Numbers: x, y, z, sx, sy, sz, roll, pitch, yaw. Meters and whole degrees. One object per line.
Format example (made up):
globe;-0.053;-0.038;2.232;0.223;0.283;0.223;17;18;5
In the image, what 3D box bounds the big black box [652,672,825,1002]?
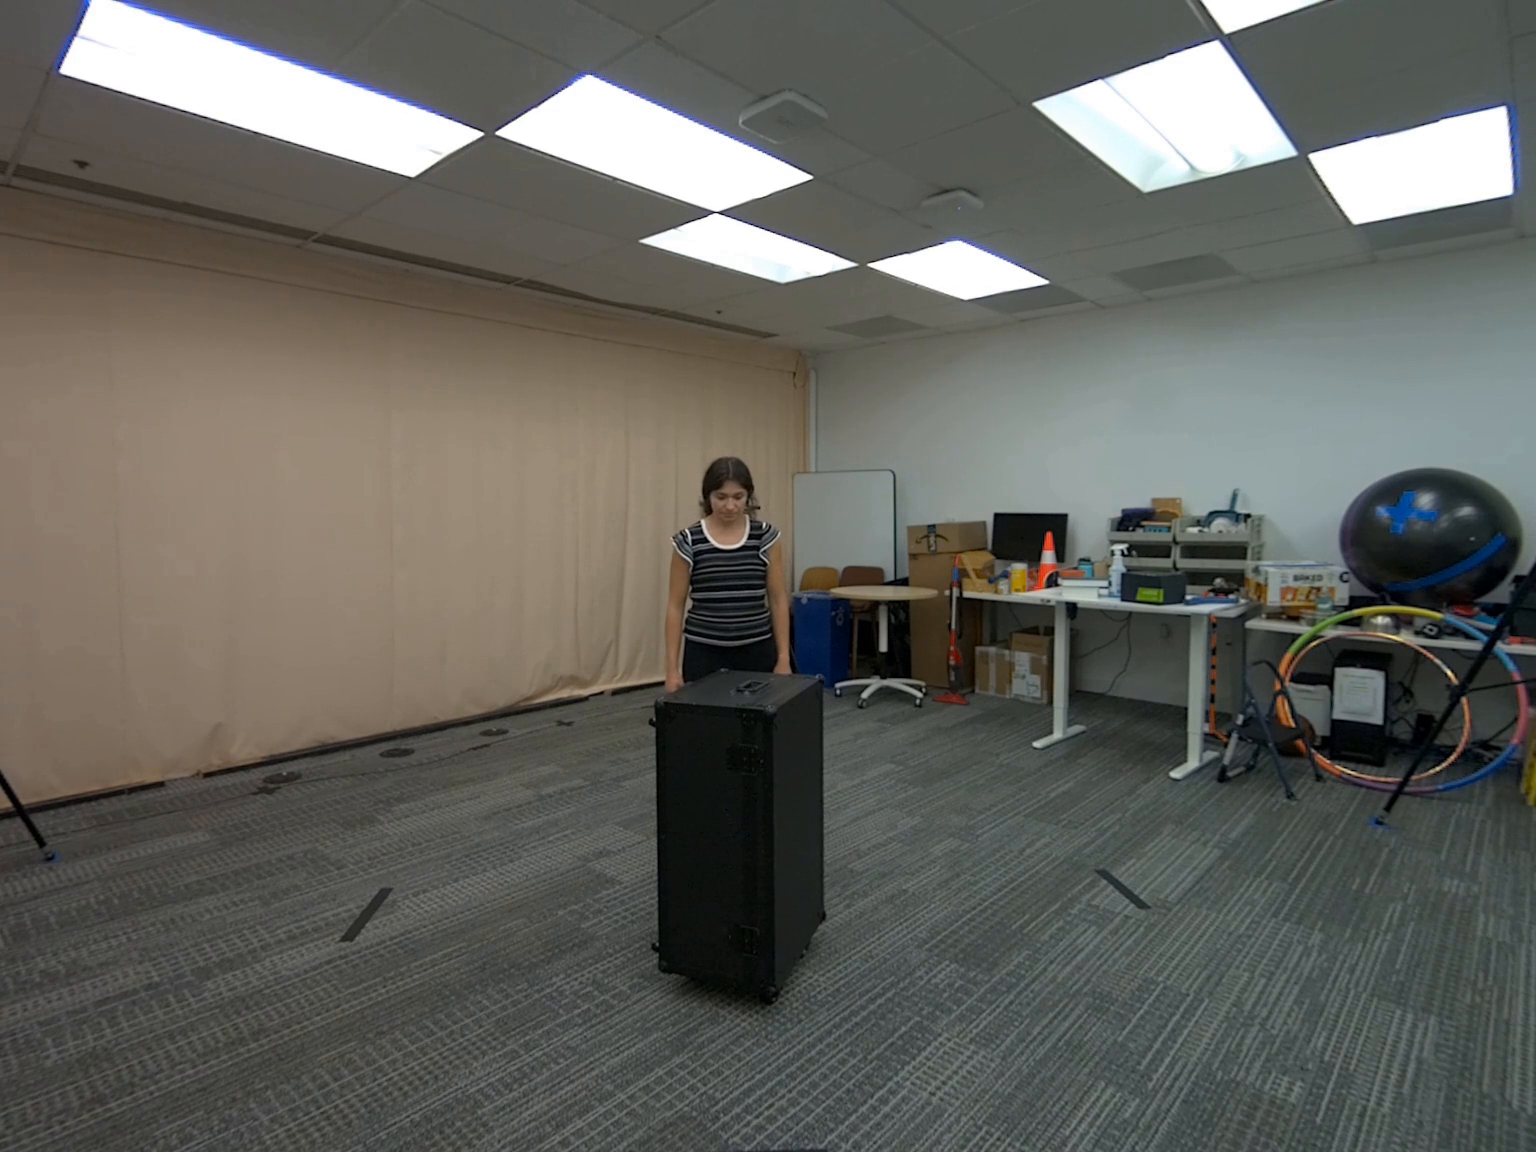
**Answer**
big black box;-0.071;0.755;2.529;0.405;0.860;0.511;0;3;21
